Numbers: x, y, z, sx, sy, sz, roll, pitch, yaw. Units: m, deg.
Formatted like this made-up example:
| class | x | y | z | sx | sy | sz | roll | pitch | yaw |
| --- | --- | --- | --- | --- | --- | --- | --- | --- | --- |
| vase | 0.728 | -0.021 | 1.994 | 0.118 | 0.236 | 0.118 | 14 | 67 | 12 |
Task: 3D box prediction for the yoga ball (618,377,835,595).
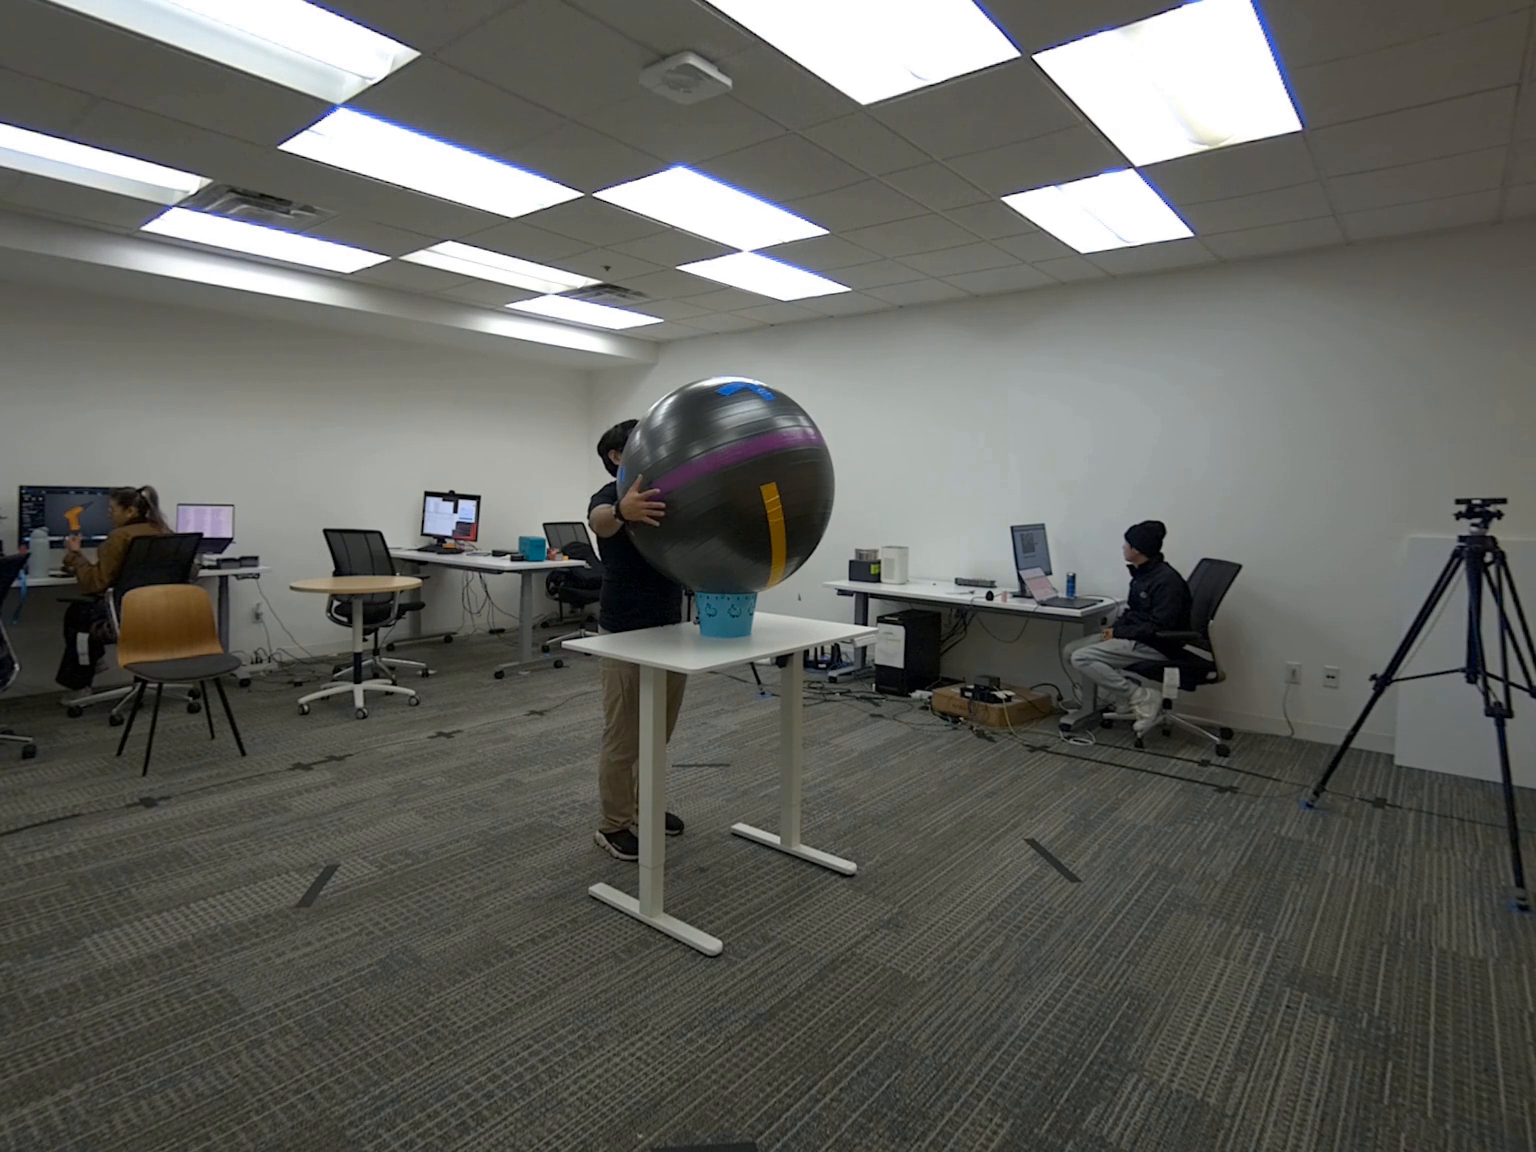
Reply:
| class | x | y | z | sx | sy | sz | roll | pitch | yaw |
| --- | --- | --- | --- | --- | --- | --- | --- | --- | --- |
| yoga ball | -0.157 | -0.306 | 2.961 | 0.757 | 0.755 | 0.762 | 1 | 4 | -2 |
